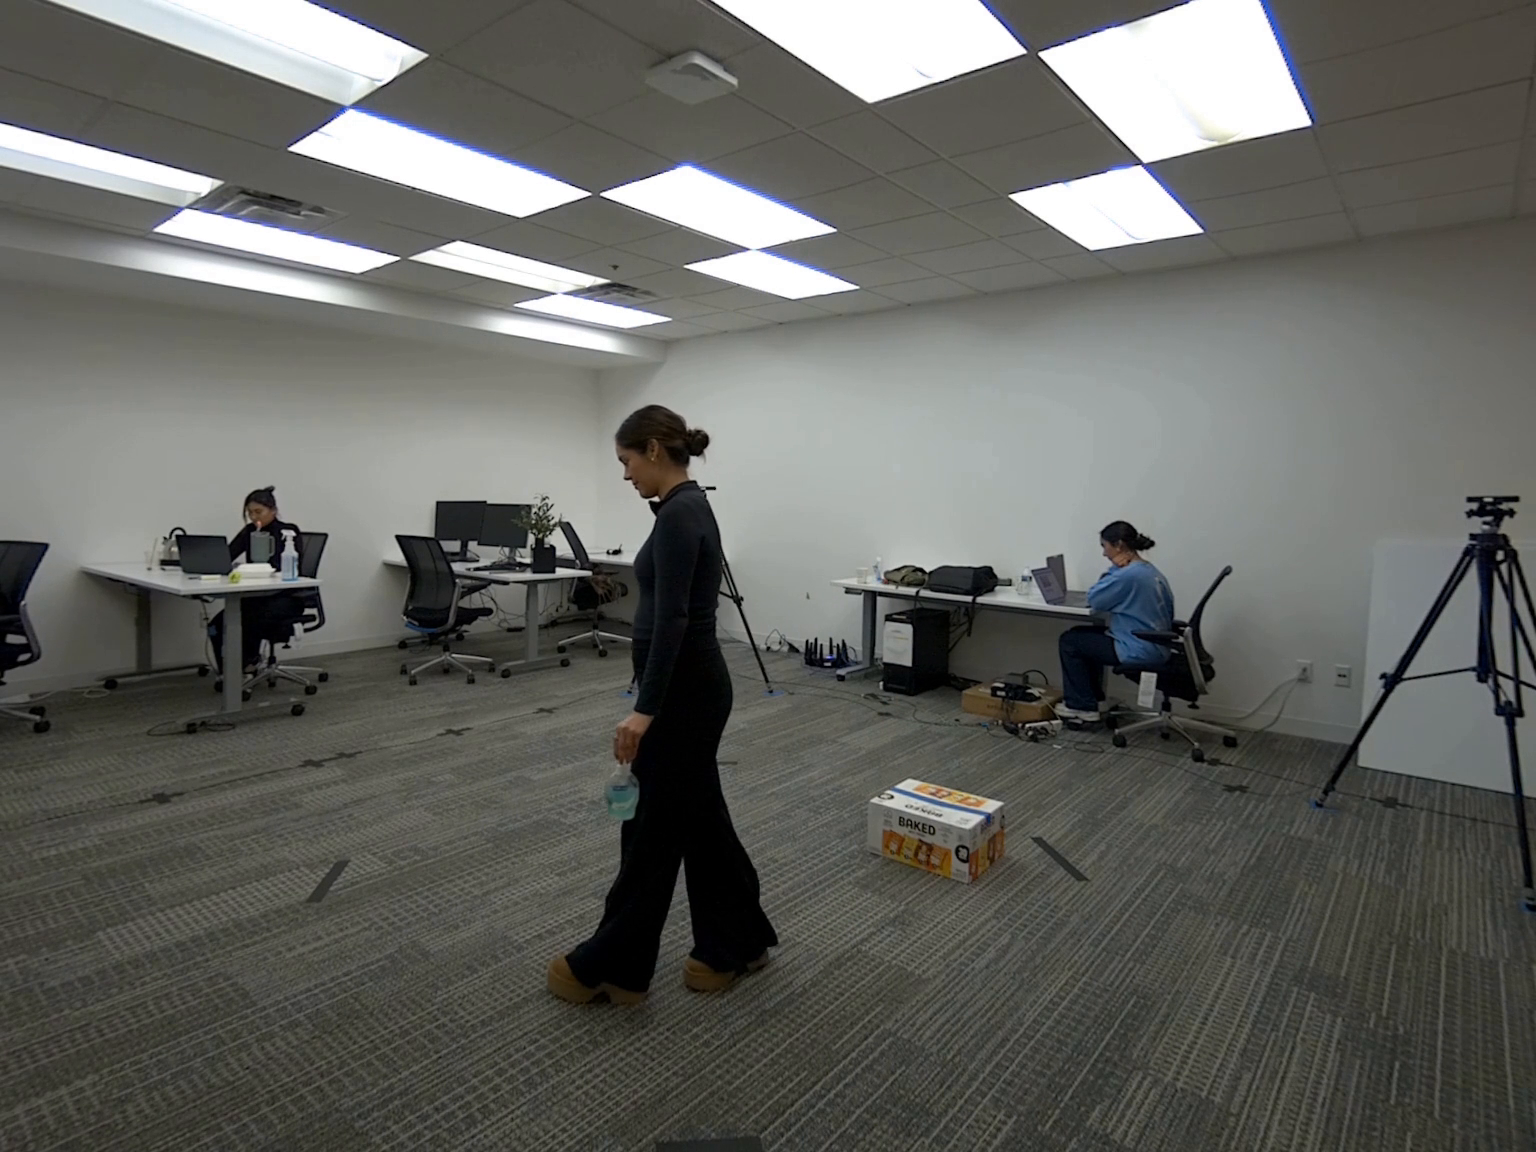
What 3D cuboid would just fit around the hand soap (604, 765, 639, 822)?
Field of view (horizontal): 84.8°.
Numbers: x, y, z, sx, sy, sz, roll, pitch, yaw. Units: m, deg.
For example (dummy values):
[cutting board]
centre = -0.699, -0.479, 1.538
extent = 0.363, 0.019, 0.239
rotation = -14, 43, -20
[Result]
[hand soap]
centre = -0.370, 0.507, 2.078
extent = 0.084, 0.168, 0.044
rotation = 2, 2, -9
